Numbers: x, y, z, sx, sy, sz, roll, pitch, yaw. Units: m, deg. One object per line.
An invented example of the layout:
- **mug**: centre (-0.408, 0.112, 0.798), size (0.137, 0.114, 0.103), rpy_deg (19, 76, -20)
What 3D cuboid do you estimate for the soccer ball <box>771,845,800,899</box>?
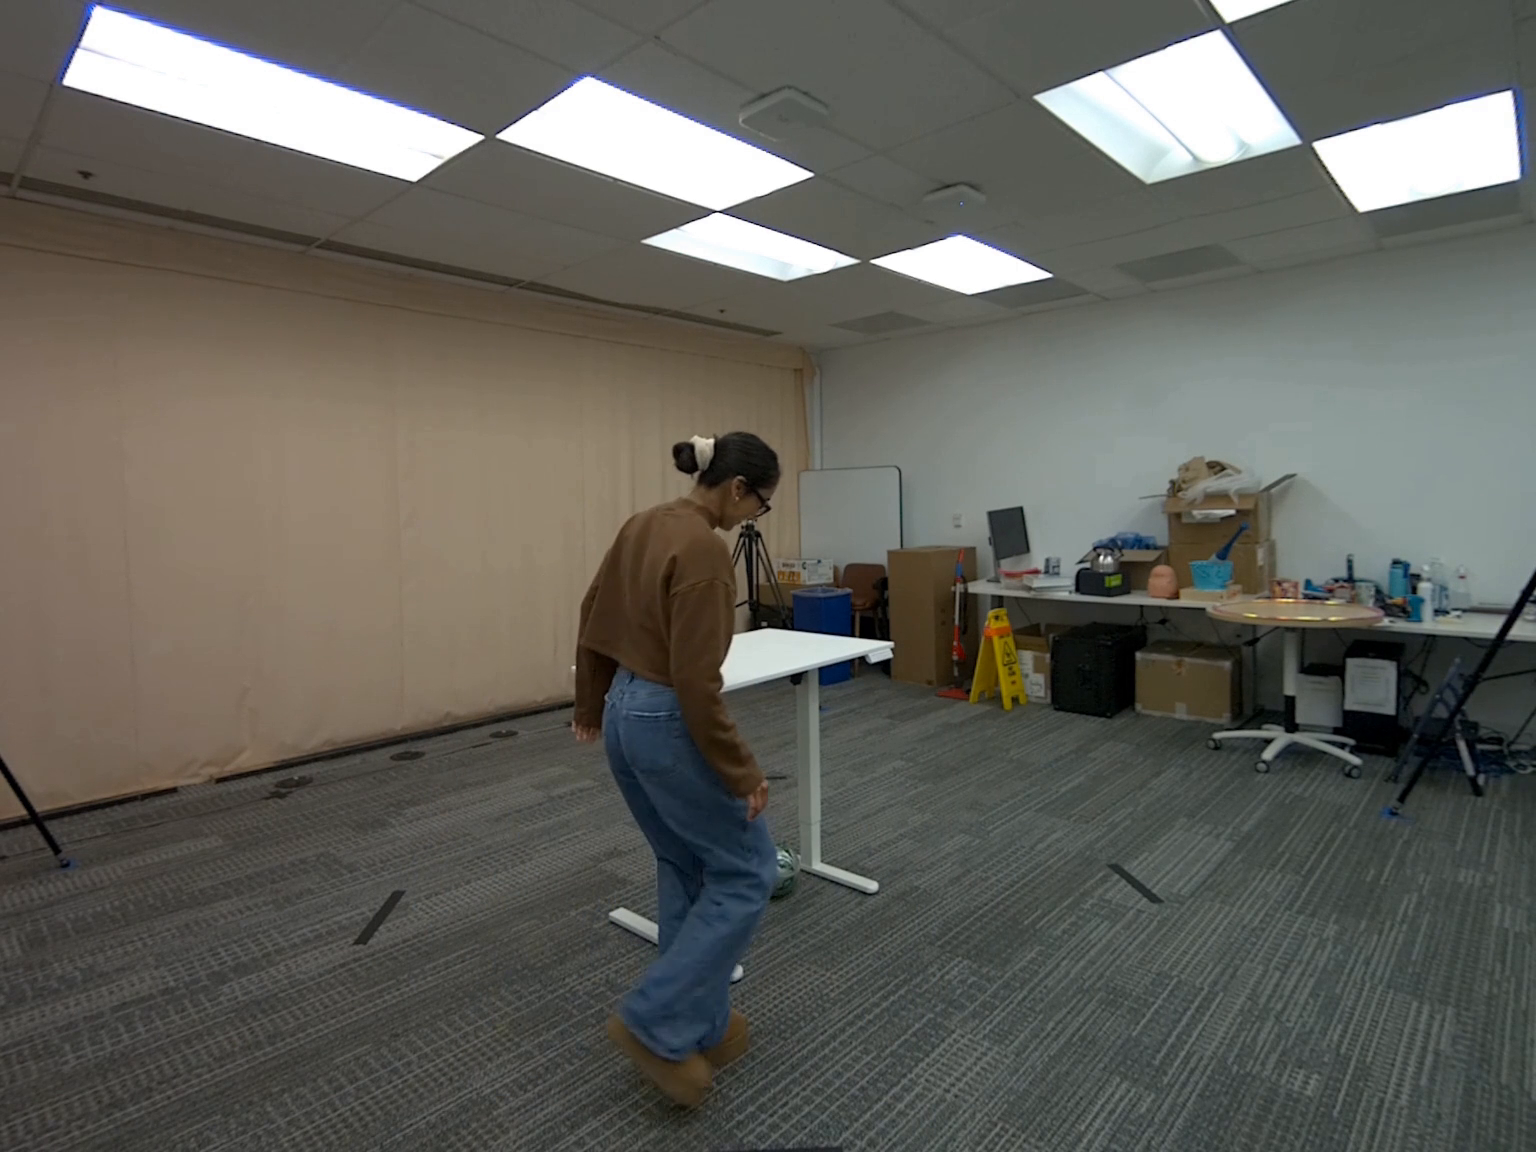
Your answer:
- **soccer ball**: centre (0.028, 1.045, 3.006), size (0.187, 0.187, 0.188), rpy_deg (-1, 4, -2)
